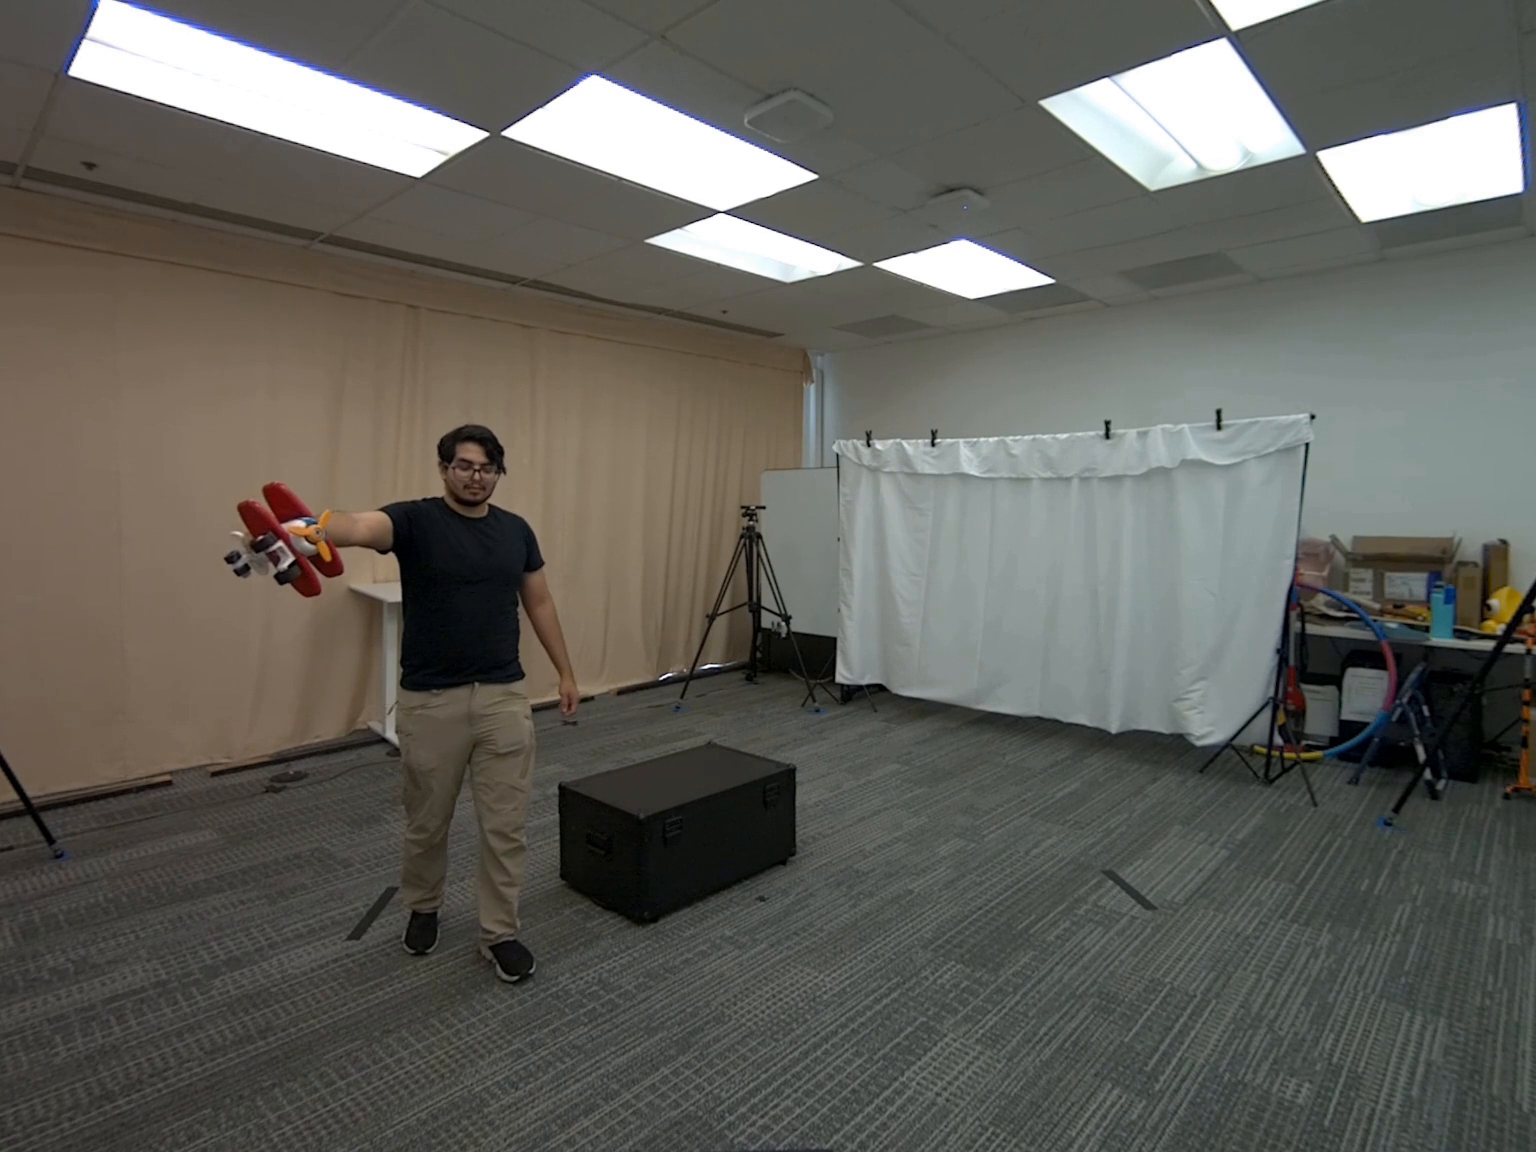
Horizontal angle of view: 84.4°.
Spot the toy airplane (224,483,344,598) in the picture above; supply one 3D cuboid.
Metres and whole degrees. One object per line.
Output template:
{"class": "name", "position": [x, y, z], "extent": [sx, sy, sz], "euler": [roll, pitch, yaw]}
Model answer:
{"class": "toy airplane", "position": [-1.106, -0.081, 1.880], "extent": [0.265, 0.247, 0.155], "euler": [23, 45, 20]}
